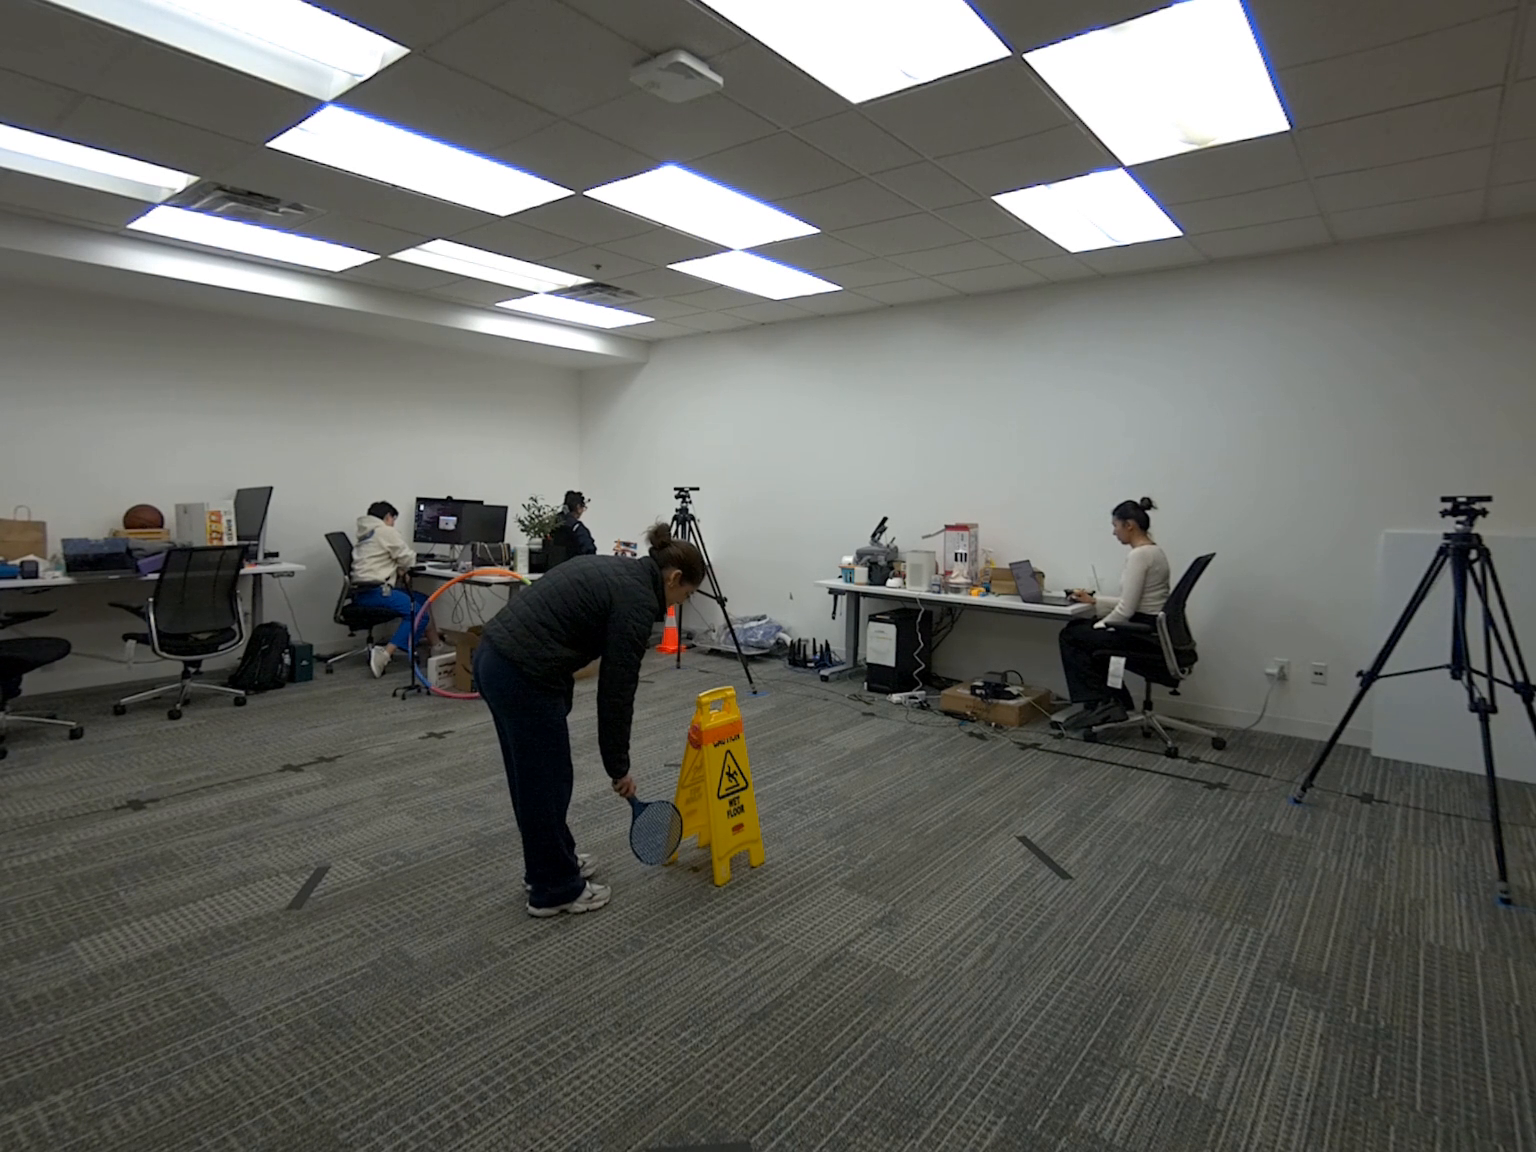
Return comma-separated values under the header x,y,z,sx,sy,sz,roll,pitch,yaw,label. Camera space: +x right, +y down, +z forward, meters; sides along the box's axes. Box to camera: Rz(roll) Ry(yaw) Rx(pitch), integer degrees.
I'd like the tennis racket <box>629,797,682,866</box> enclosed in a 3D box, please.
x,y,z,sx,sy,sz,roll,pitch,yaw,label
-0.438,0.851,2.921,0.213,0.421,0.033,-34,22,-14,tennis racket
